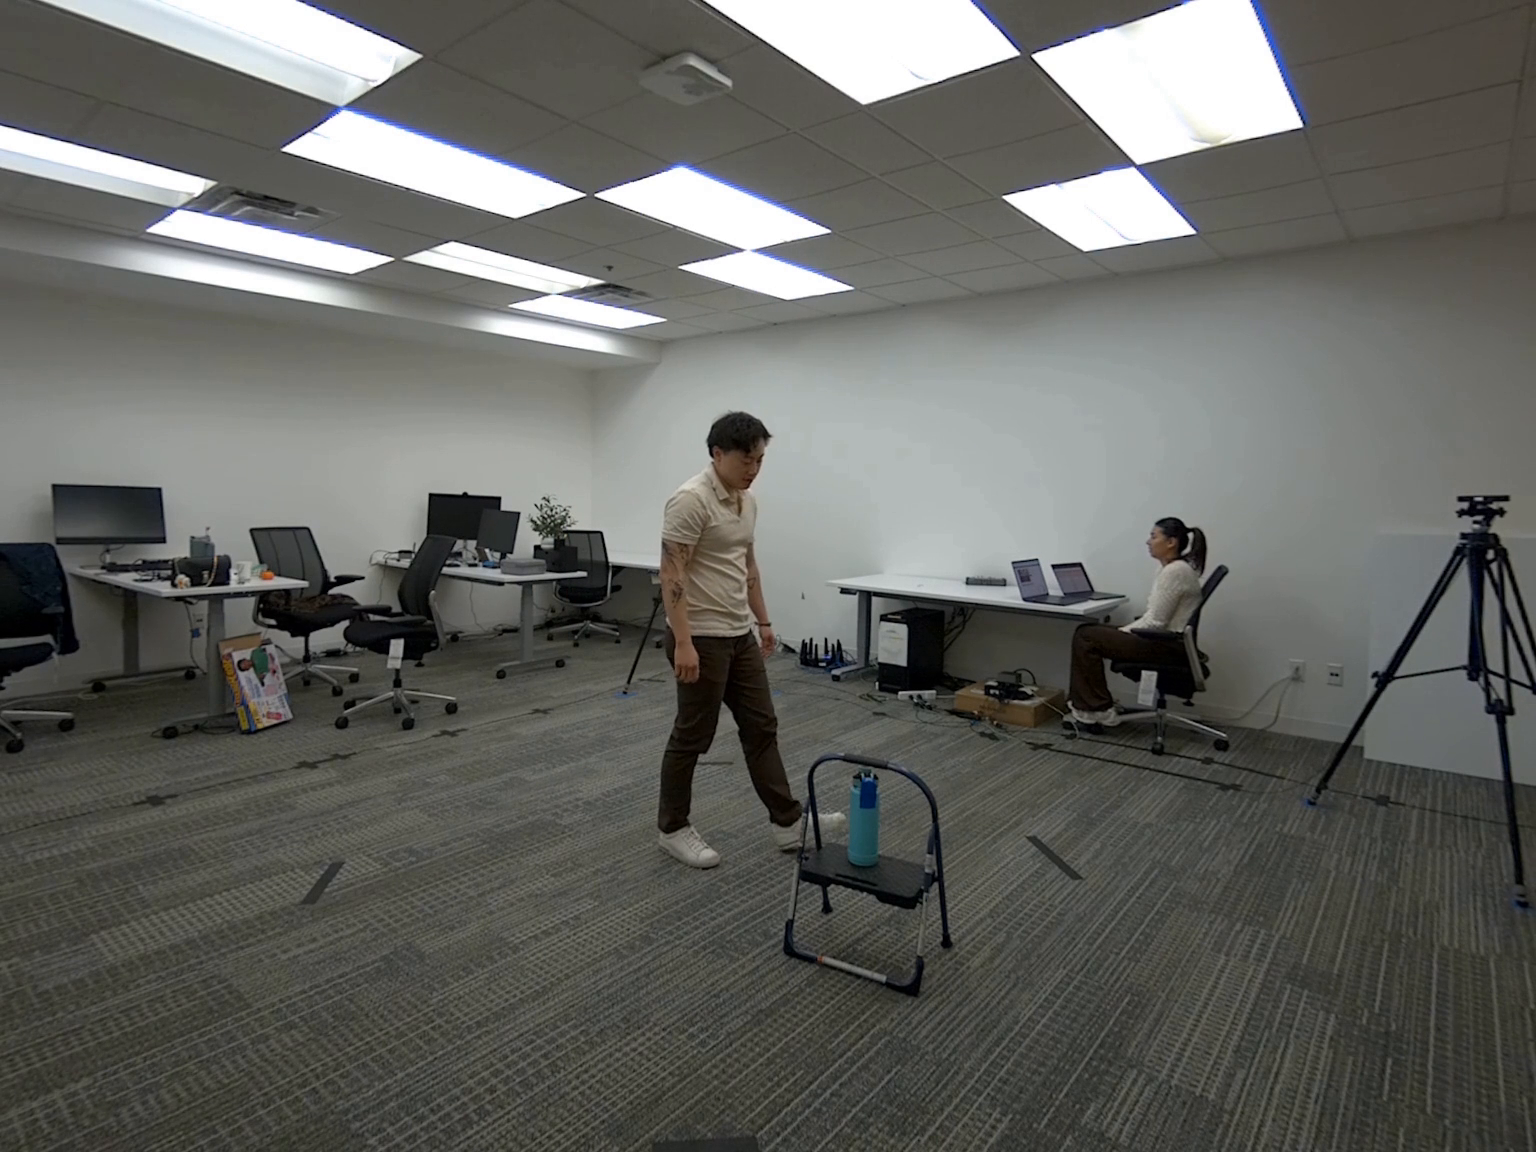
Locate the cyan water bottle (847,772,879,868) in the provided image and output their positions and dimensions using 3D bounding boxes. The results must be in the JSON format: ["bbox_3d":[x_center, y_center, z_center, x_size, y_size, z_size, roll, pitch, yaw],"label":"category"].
[{"bbox_3d":[0.285,0.725,2.586,0.092,0.282,0.093,1,5,-2],"label":"cyan water bottle"}]
